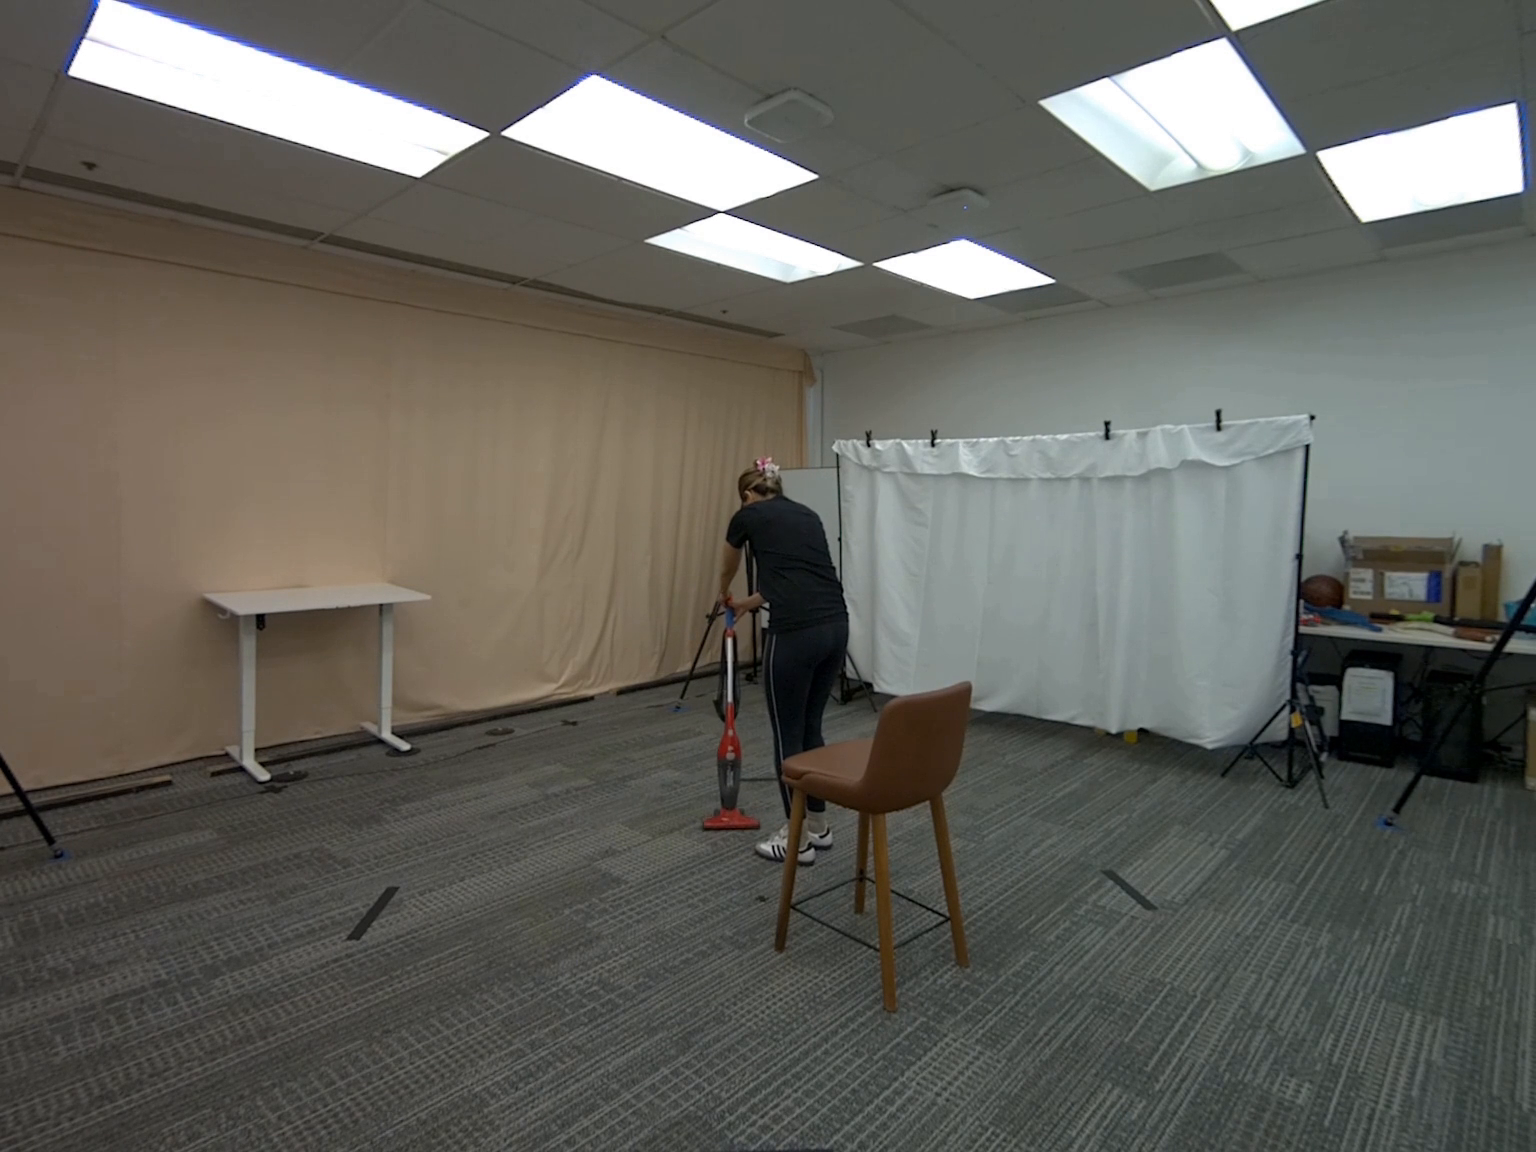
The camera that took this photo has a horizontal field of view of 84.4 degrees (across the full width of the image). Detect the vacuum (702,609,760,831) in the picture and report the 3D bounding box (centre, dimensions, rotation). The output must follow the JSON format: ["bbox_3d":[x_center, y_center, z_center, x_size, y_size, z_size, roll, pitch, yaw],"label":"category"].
[{"bbox_3d":[-0.174,0.585,3.847,0.251,1.061,0.143,2,-19,-6],"label":"vacuum"}]
